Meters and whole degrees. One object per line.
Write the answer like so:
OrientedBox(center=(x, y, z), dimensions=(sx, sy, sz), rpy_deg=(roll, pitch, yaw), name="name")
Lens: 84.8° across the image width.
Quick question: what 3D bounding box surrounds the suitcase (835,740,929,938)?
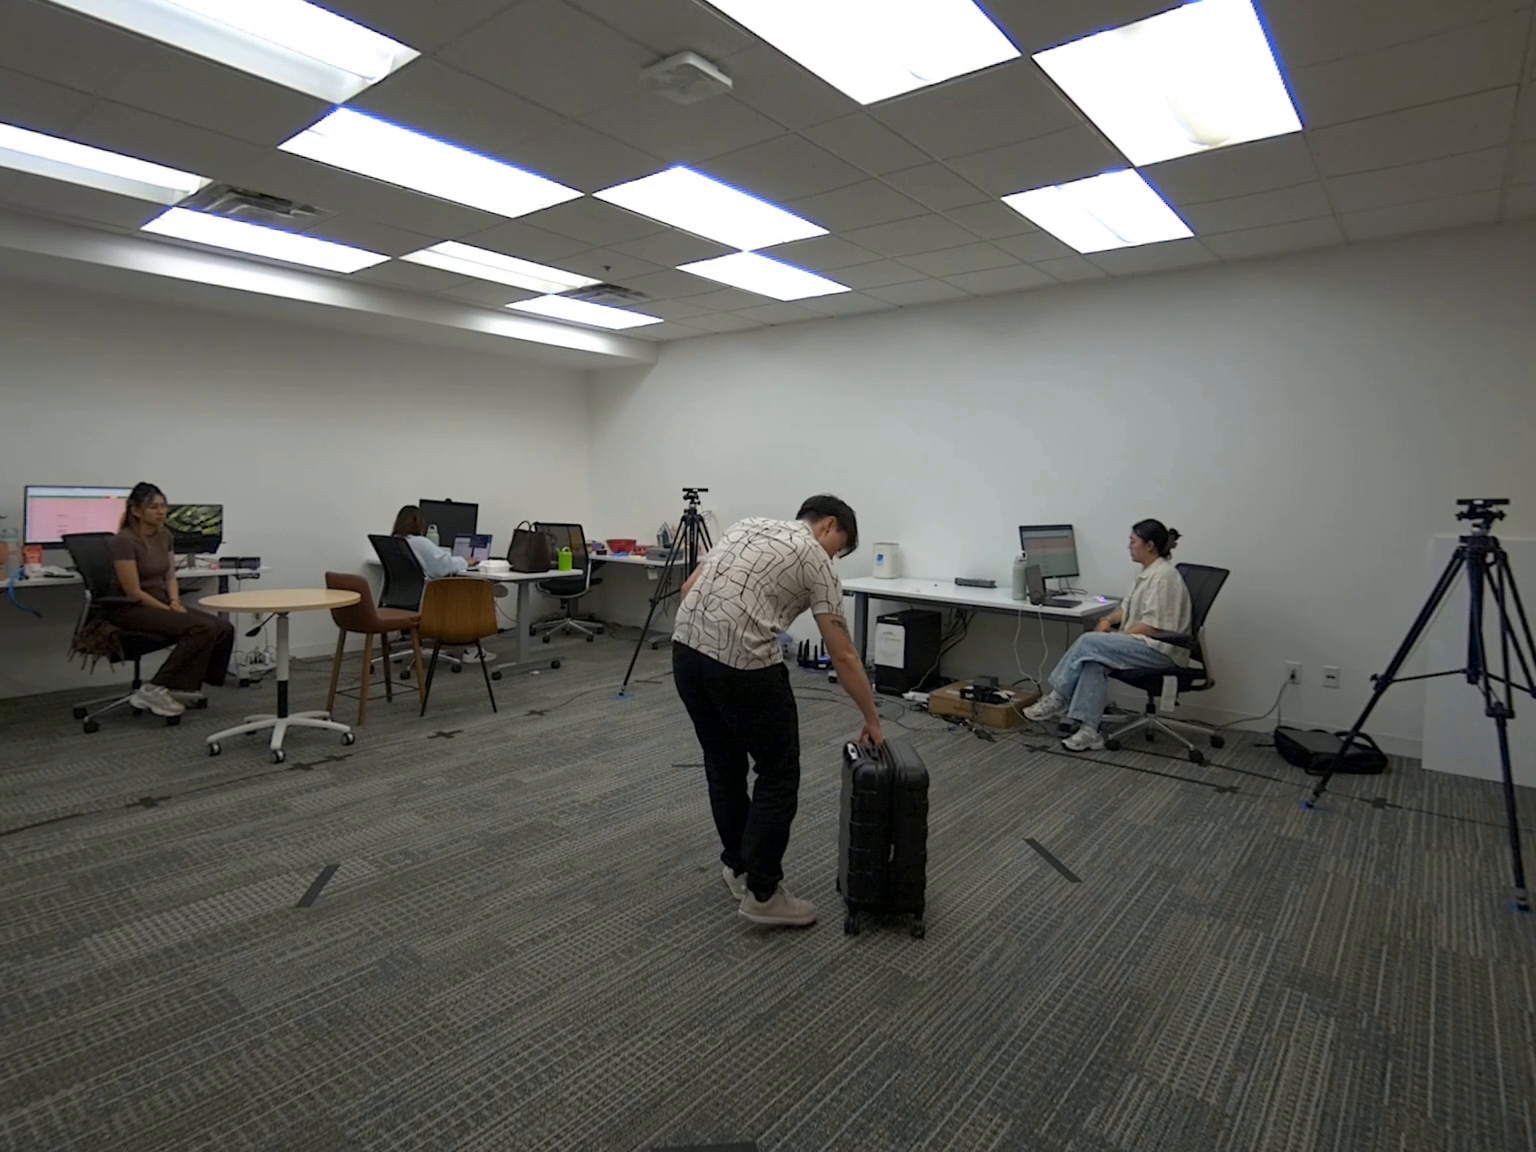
OrientedBox(center=(0.369, 0.836, 2.828), dimensions=(0.249, 0.548, 0.375), rpy_deg=(2, 3, 1), name="suitcase")
